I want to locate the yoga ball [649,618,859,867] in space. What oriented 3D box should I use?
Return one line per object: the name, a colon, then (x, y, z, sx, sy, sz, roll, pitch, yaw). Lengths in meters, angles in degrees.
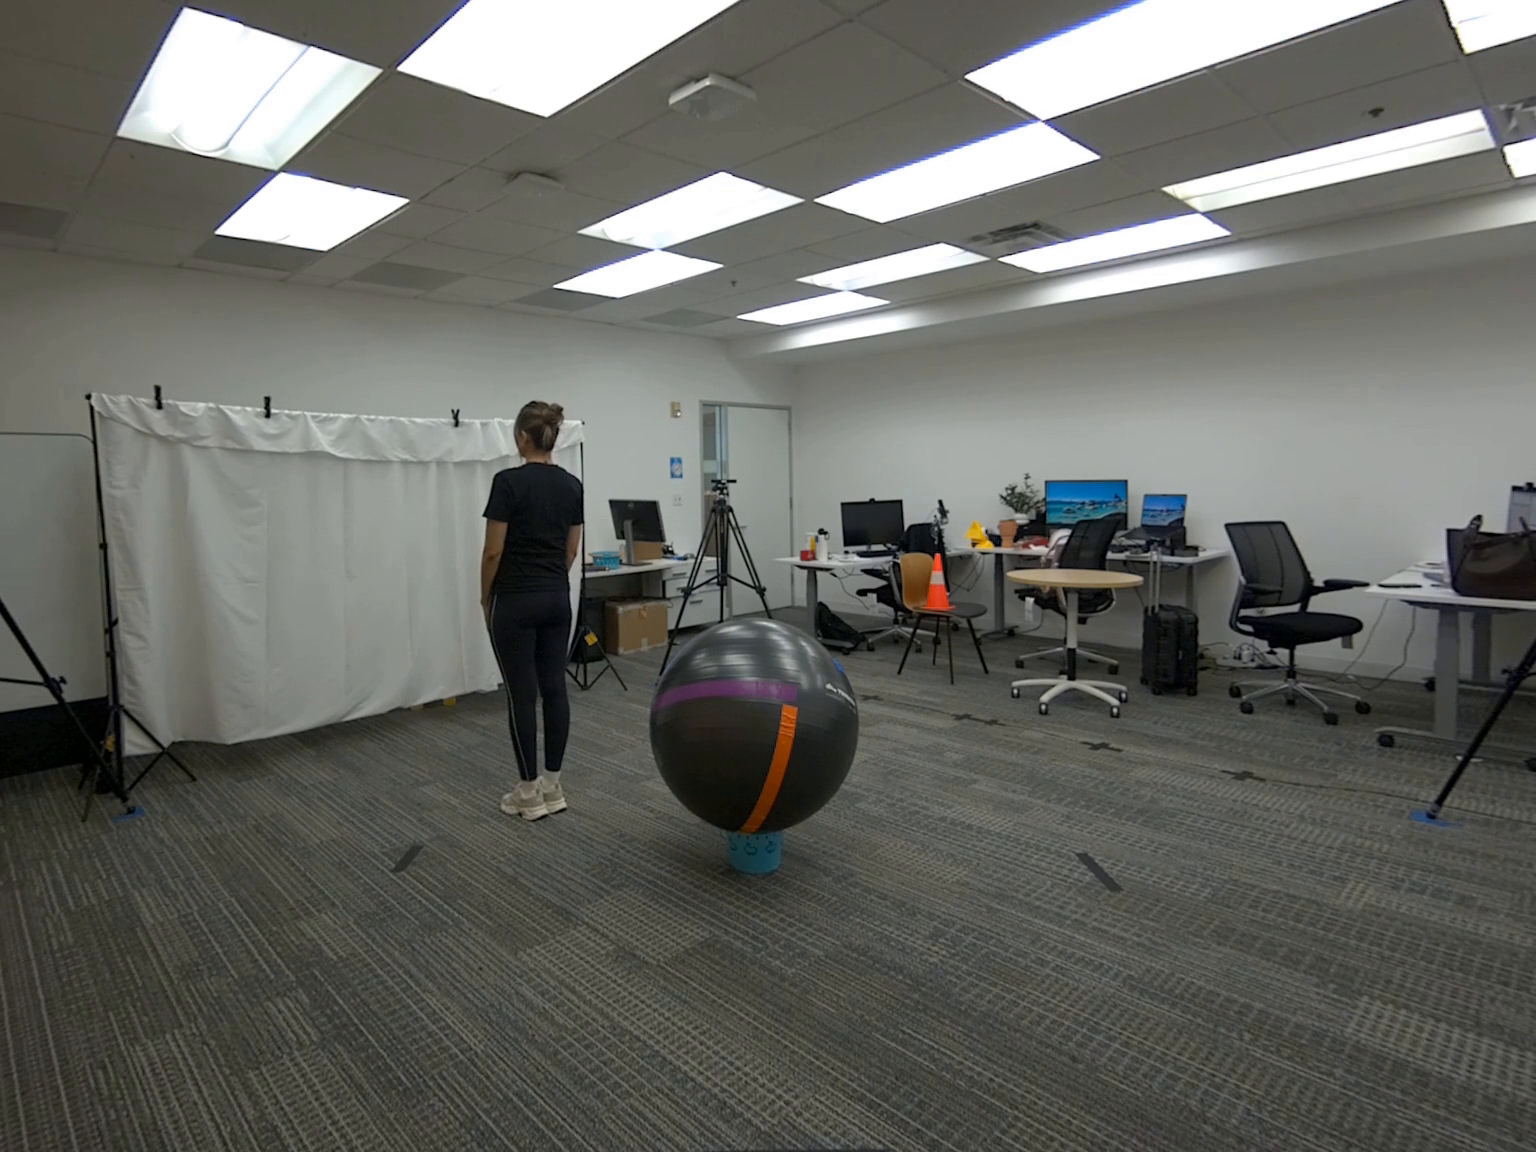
yoga ball: (-0.051, 0.539, 3.103, 0.757, 0.755, 0.762, -1, 5, -2)
